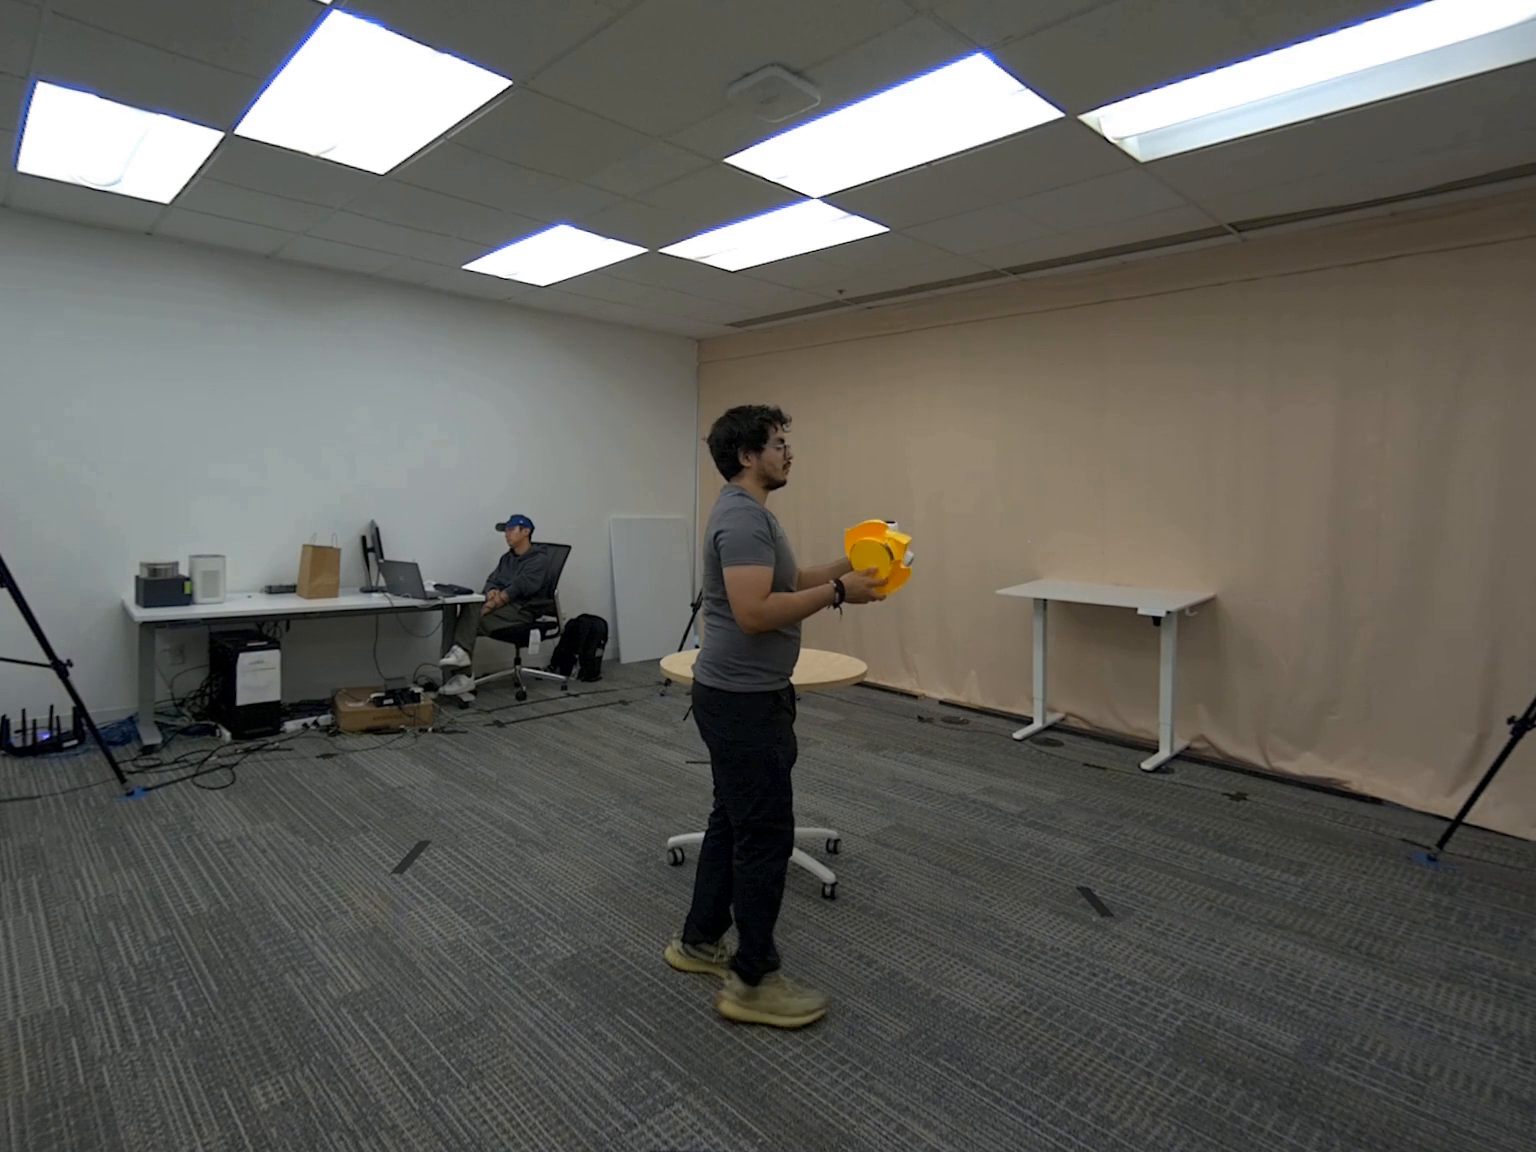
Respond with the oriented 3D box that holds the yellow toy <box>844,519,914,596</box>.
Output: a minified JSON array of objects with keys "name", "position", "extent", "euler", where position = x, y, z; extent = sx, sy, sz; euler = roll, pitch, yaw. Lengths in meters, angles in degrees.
[{"name":"yellow toy","position":[0.328,-0.082,2.326],"extent":[0.195,0.205,0.228],"euler":[-27,1,41]}]
